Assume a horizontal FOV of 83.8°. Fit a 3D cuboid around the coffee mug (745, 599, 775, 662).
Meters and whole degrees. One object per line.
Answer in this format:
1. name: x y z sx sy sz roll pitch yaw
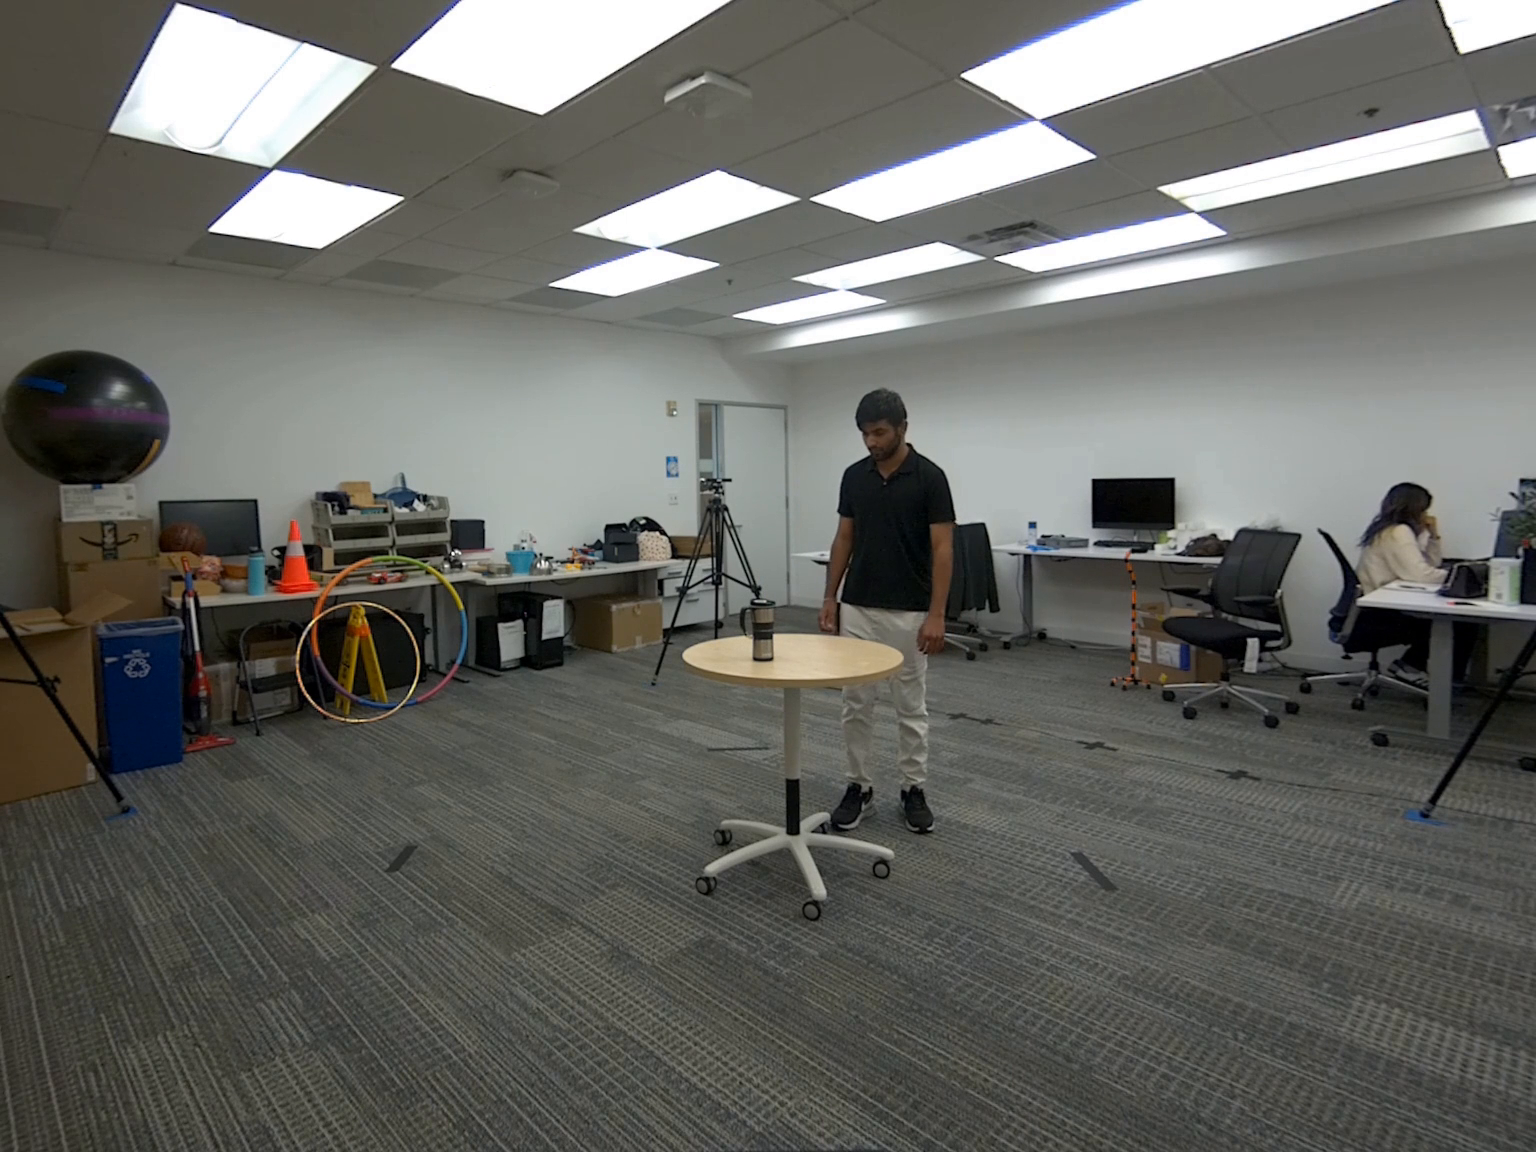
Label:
1. coffee mug: -0.003 0.188 2.890 0.119 0.202 0.090 -8 6 -31
